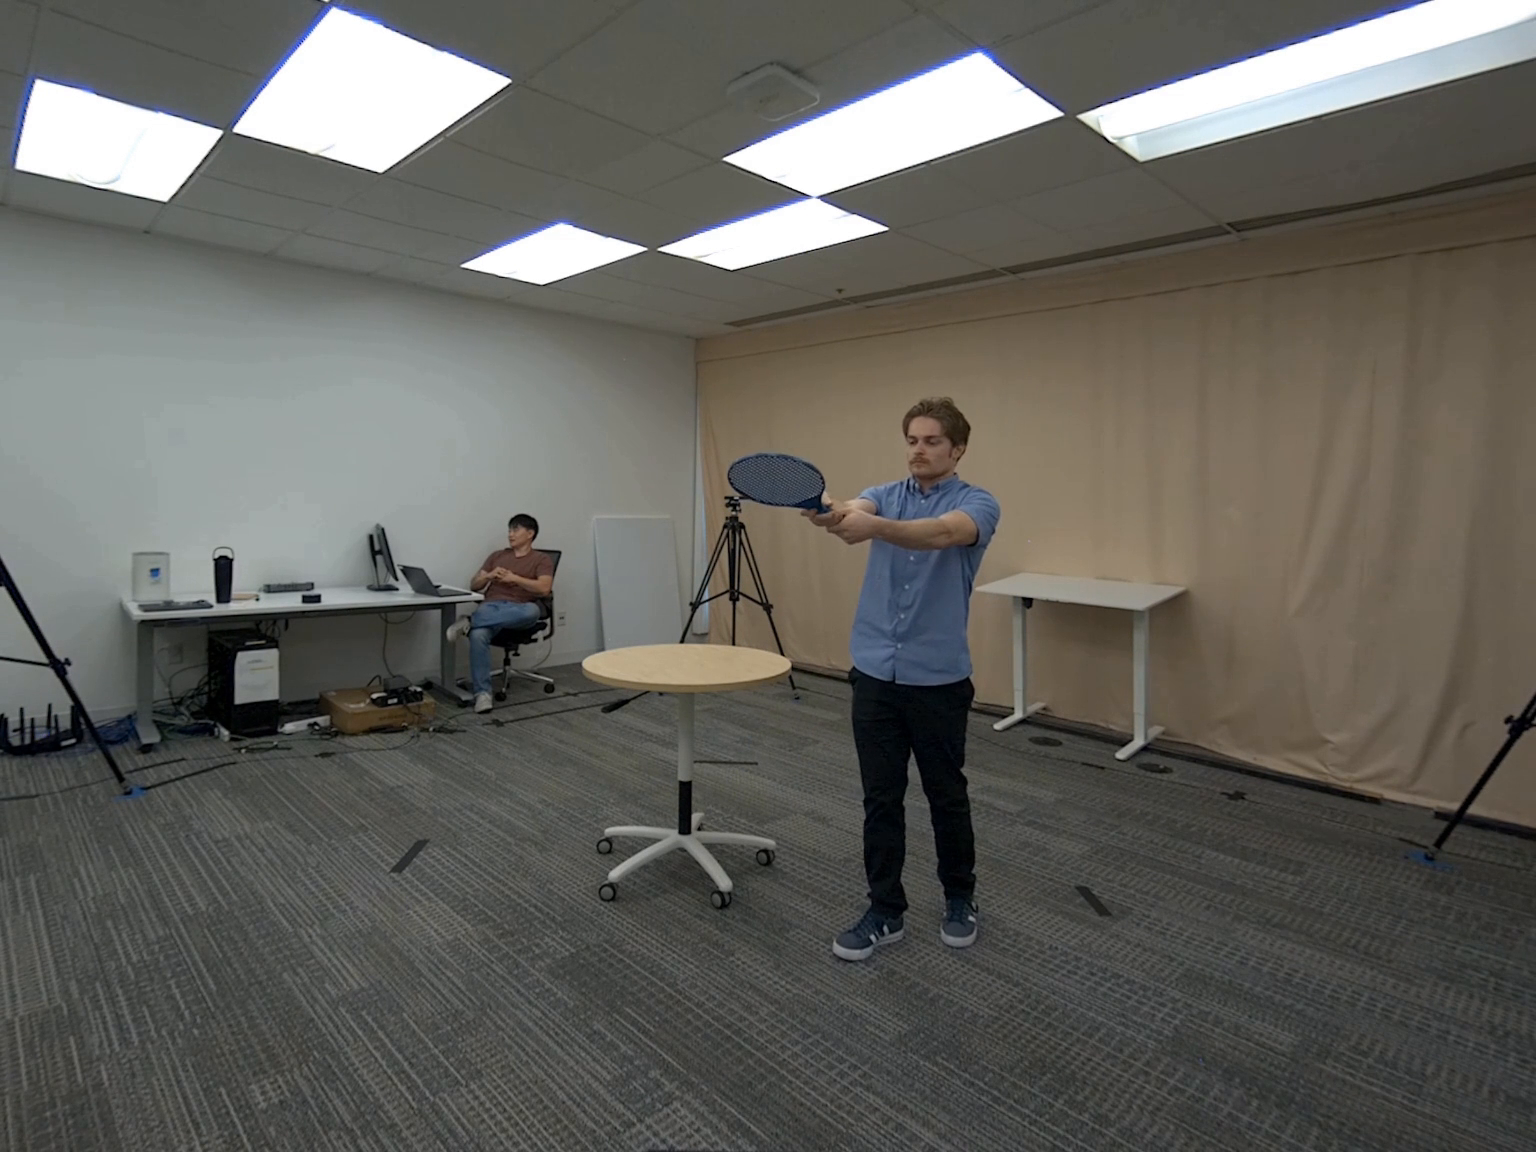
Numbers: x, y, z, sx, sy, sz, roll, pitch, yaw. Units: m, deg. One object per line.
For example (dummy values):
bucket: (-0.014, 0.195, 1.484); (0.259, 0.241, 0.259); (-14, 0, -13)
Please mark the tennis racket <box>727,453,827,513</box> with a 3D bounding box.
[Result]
tennis racket: (0.063, -0.199, 2.076); (0.217, 0.032, 0.419); (-19, -31, 34)
